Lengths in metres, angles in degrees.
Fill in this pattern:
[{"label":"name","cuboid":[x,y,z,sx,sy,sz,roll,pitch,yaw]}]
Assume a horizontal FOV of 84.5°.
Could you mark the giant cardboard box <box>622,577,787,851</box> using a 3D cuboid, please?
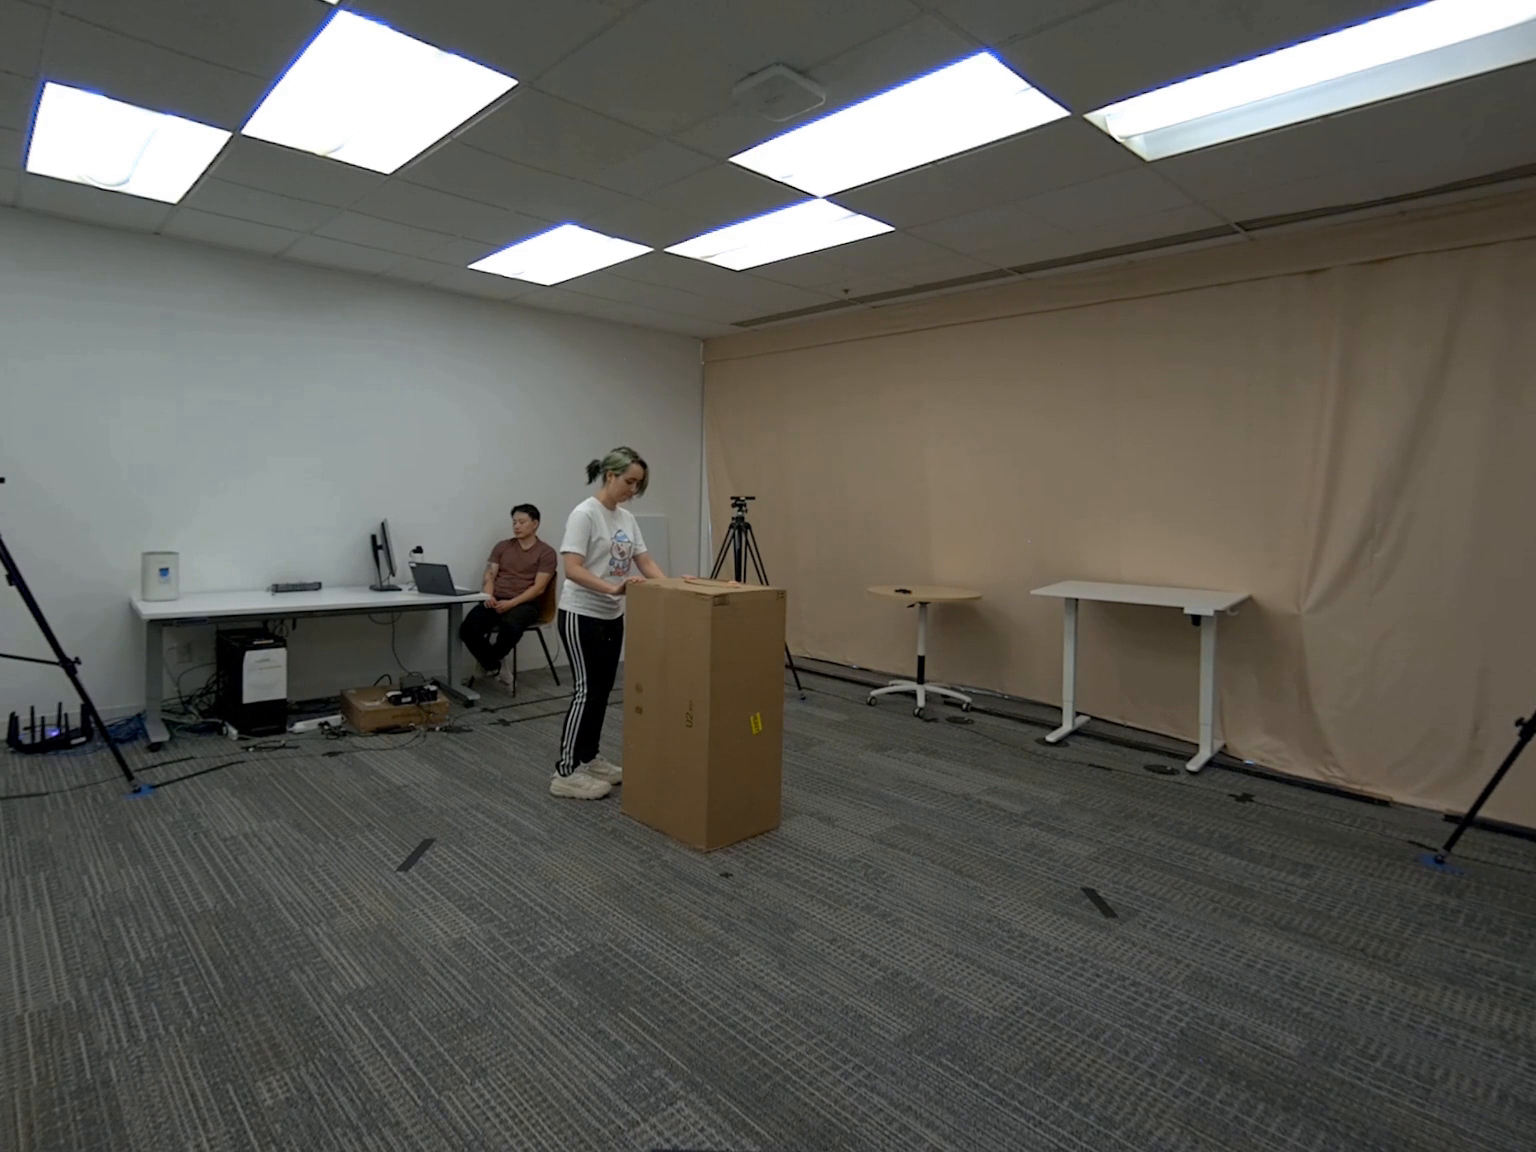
[{"label":"giant cardboard box","cuboid":[-0.287,0.549,3.615,0.436,1.025,0.599,-2,5,-45]}]
